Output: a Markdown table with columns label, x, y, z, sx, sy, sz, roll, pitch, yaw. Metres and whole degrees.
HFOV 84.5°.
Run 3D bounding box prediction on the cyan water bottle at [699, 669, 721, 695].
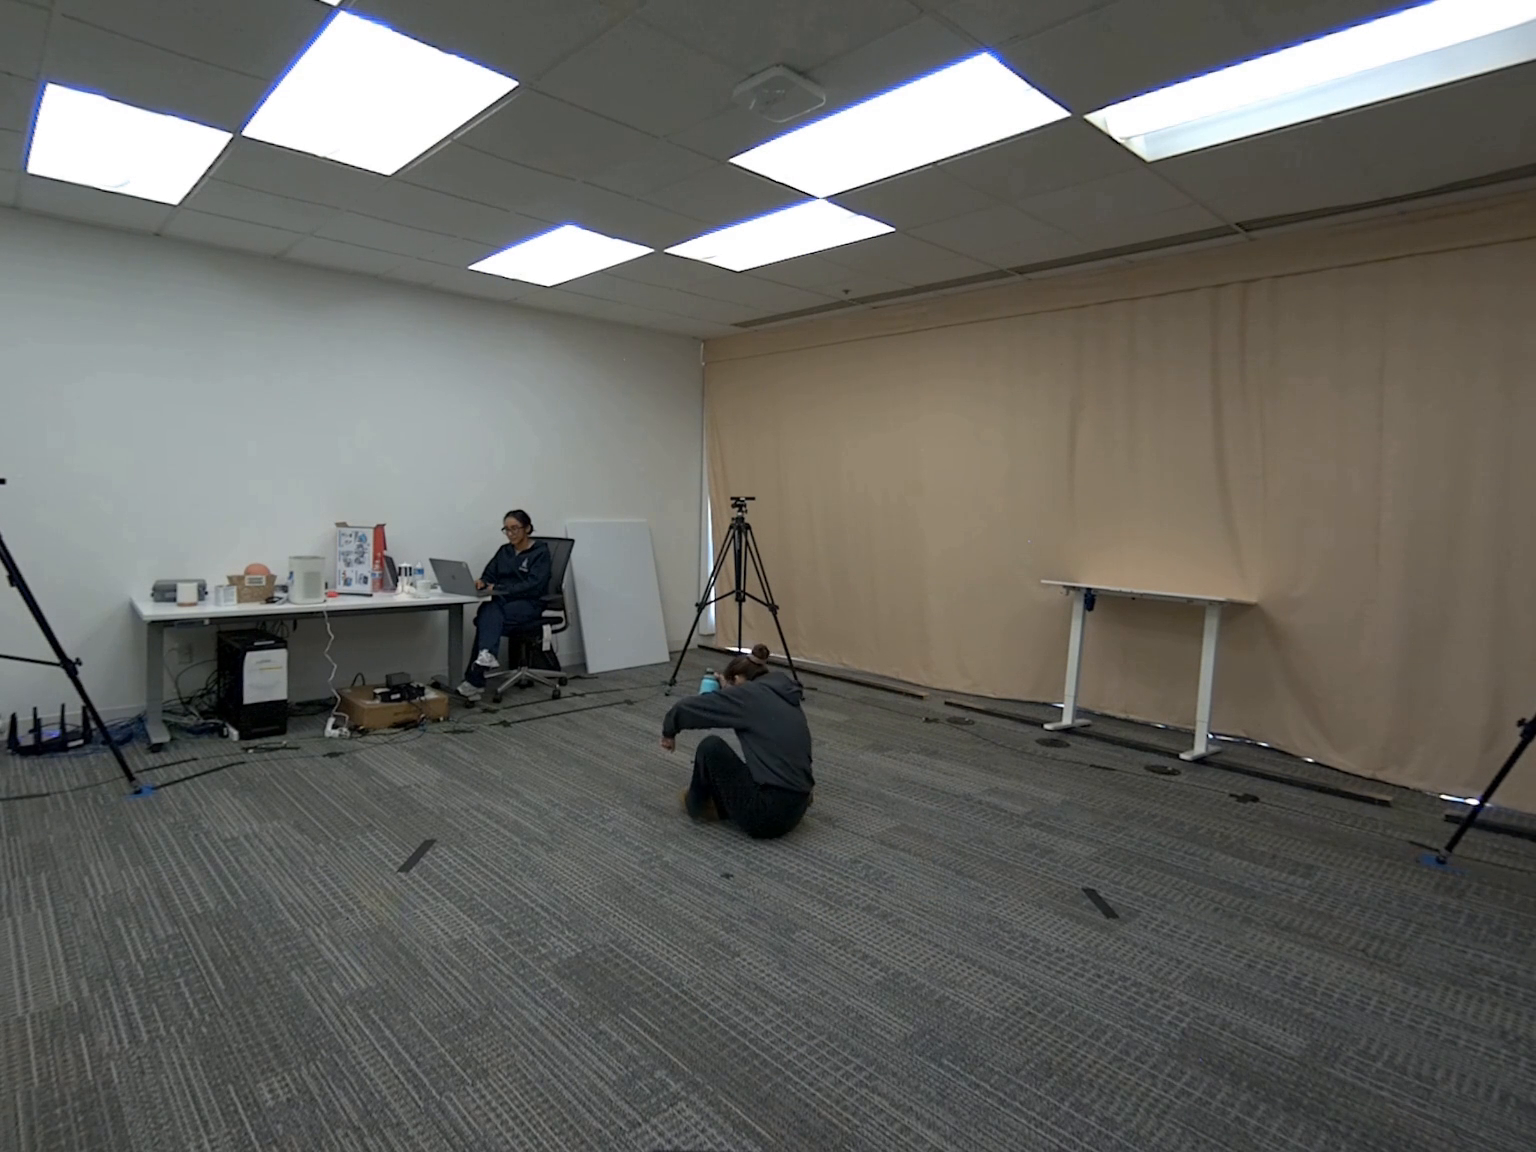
| label | x | y | z | sx | sy | sz | roll | pitch | yaw |
| --- | --- | --- | --- | --- | --- | --- | --- | --- | --- |
| cyan water bottle | -0.298 | 0.569 | 4.040 | 0.092 | 0.286 | 0.091 | 7 | -19 | 1 |
